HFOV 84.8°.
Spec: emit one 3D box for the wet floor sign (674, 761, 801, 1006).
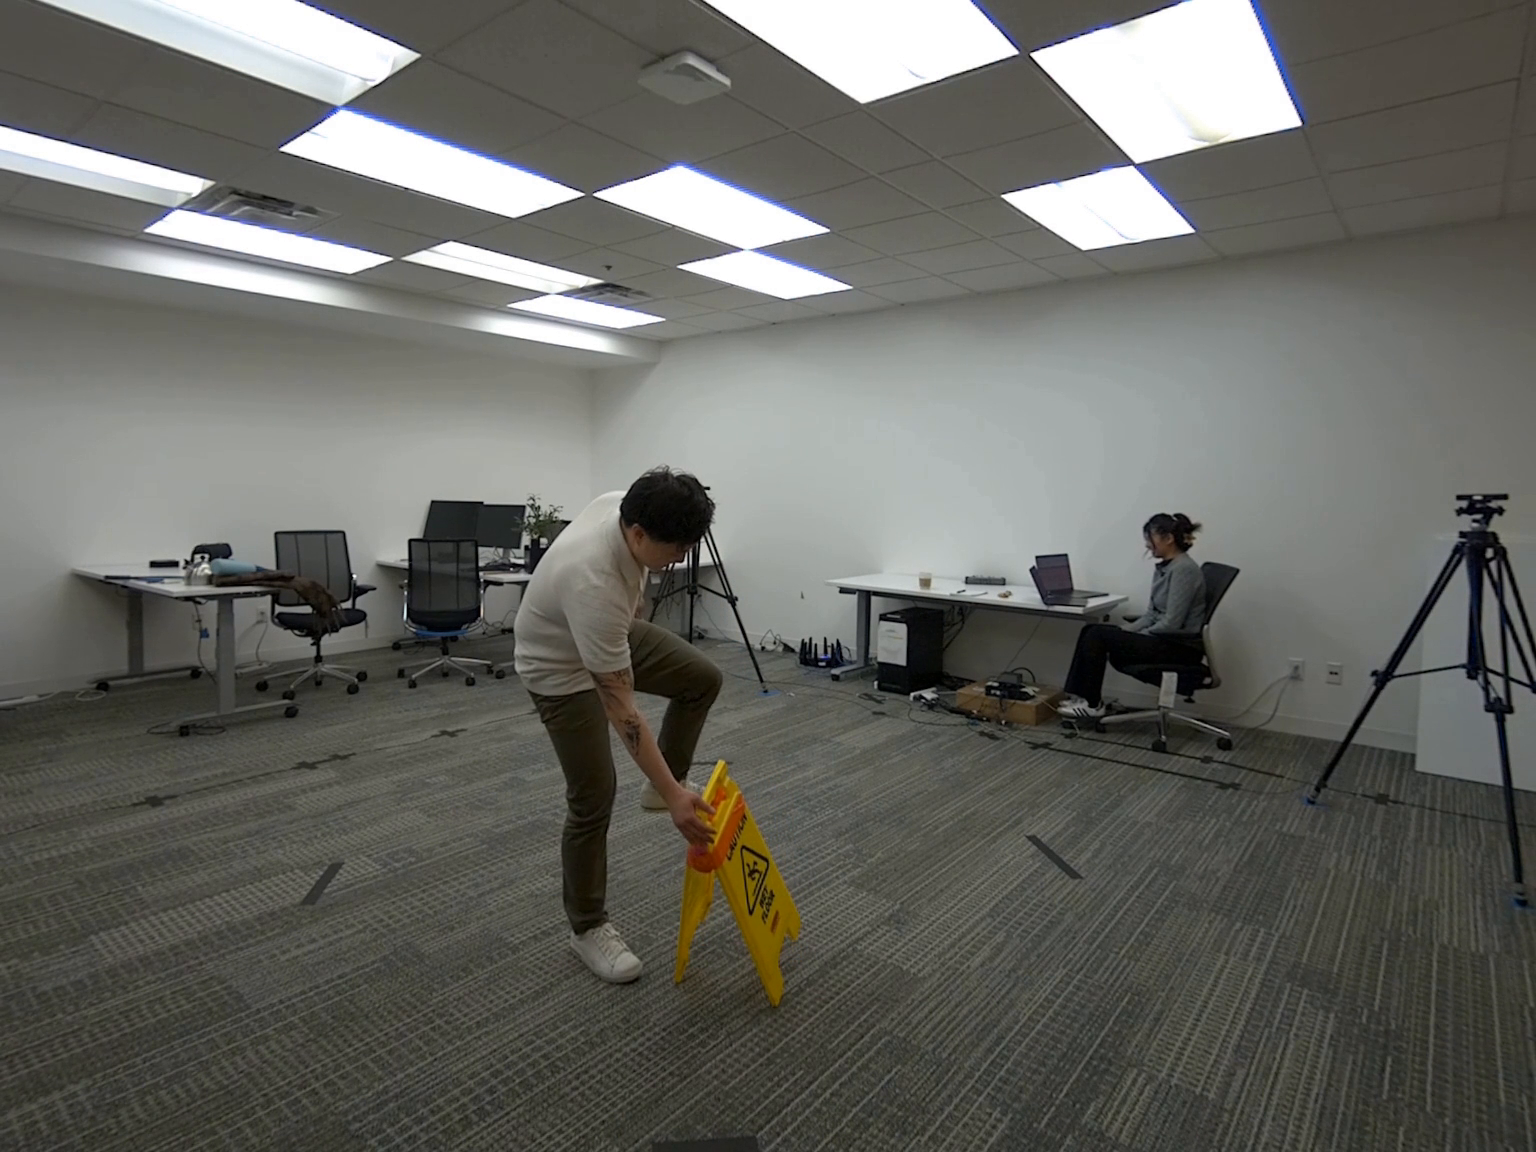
[{"bbox_3d":[-0.116,0.802,2.305,0.296,0.629,0.284,3,29,19],"label":"wet floor sign"}]
